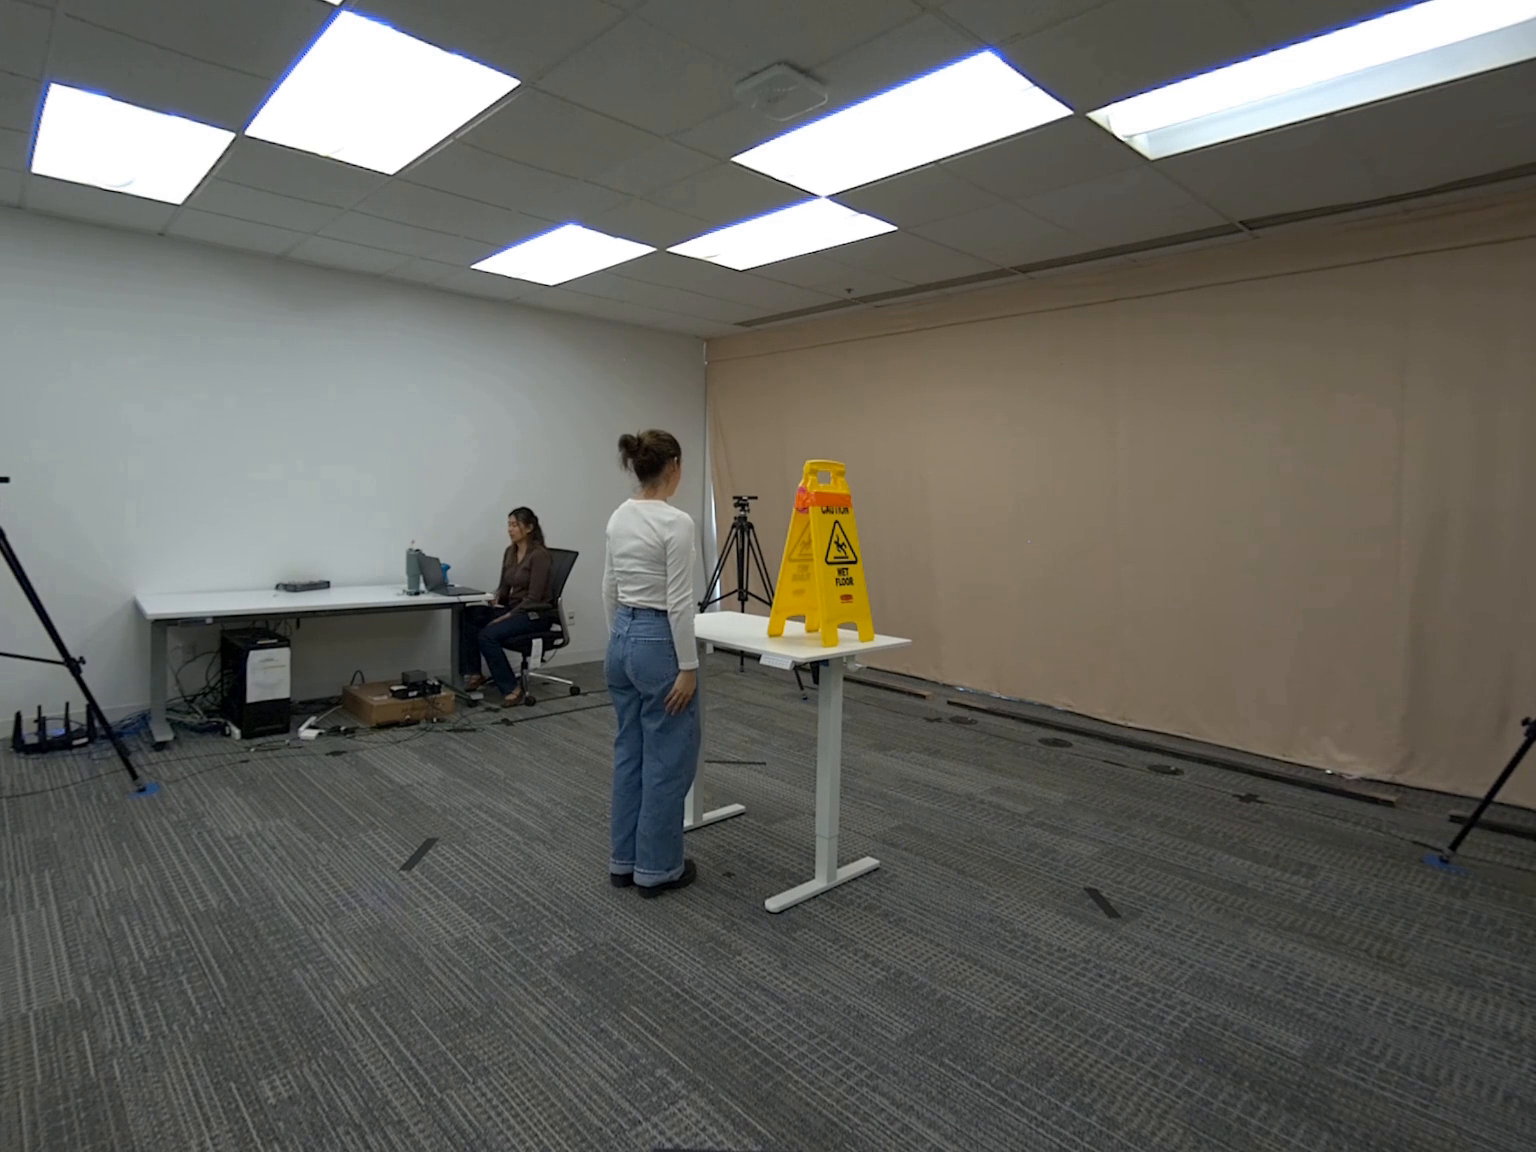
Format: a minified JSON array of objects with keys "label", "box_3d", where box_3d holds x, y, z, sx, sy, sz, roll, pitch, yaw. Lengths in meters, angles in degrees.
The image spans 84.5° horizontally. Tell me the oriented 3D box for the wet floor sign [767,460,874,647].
[{"label":"wet floor sign","box_3d":[0.200,-0.090,3.055,0.276,0.644,0.297,-1,5,-45]}]
